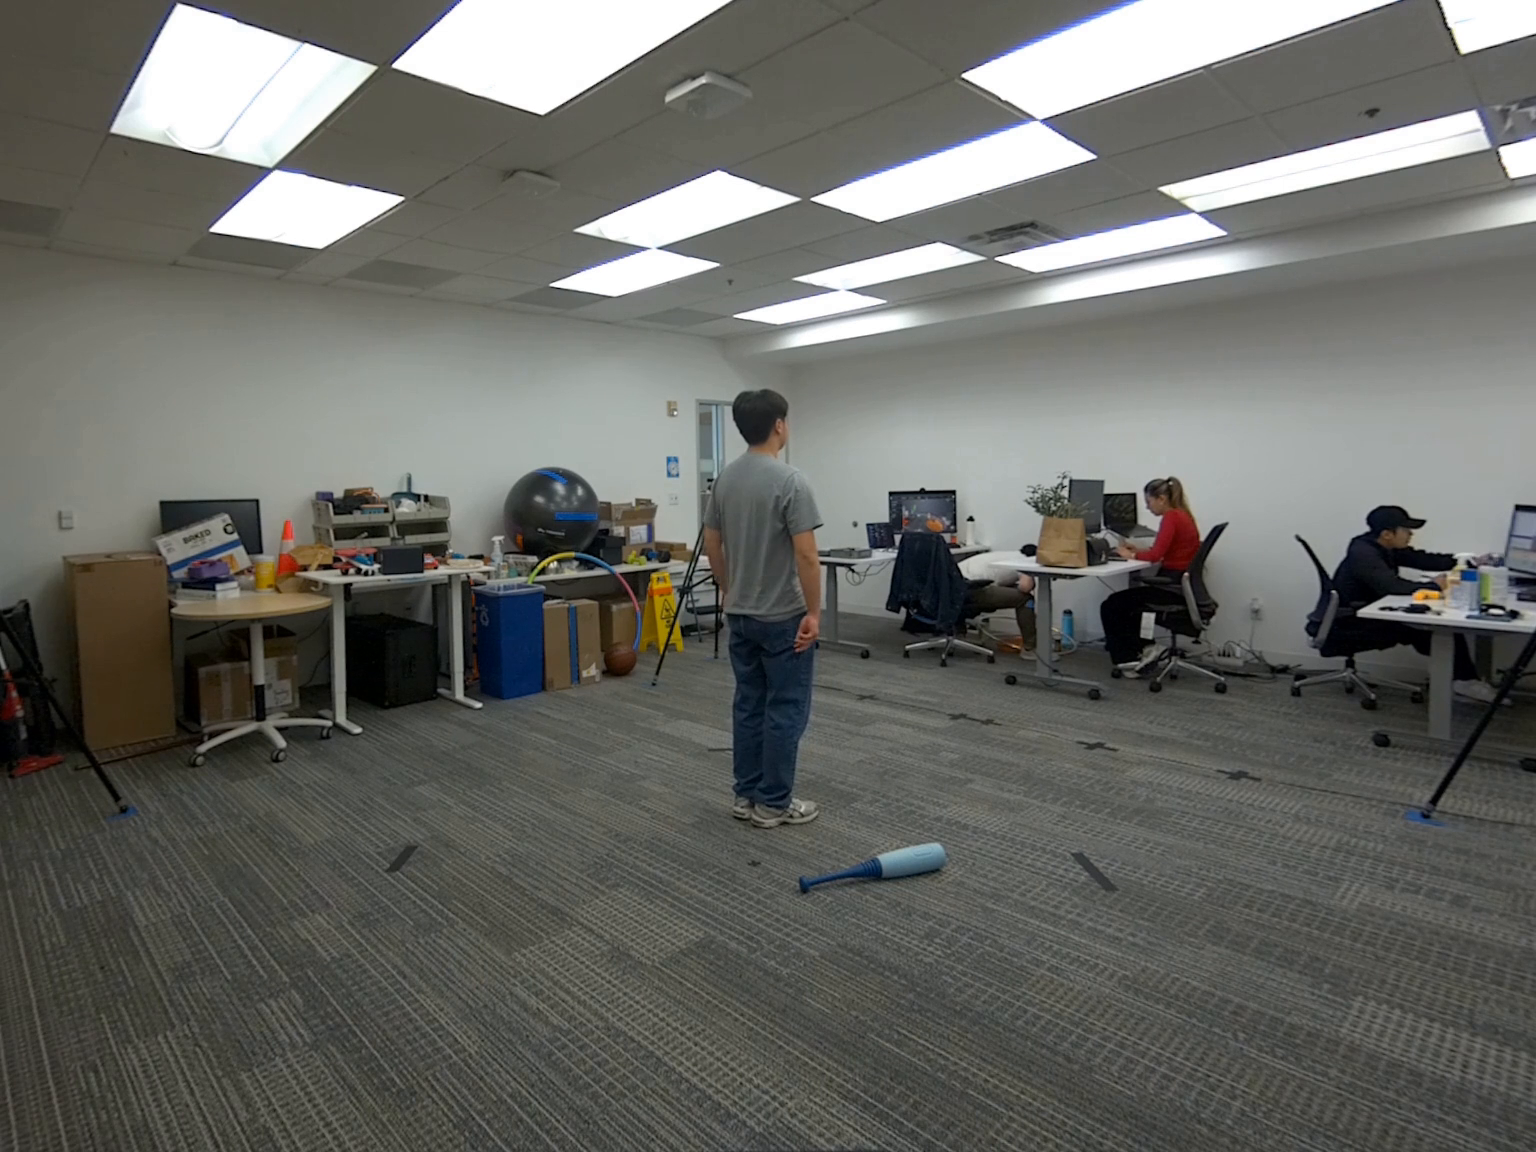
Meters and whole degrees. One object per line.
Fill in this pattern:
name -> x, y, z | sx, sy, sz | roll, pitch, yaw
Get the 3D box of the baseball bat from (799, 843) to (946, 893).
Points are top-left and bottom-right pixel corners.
baseball bat -> 0.371, 1.019, 2.960 | 0.535, 0.088, 0.091 | -6, 6, -16
